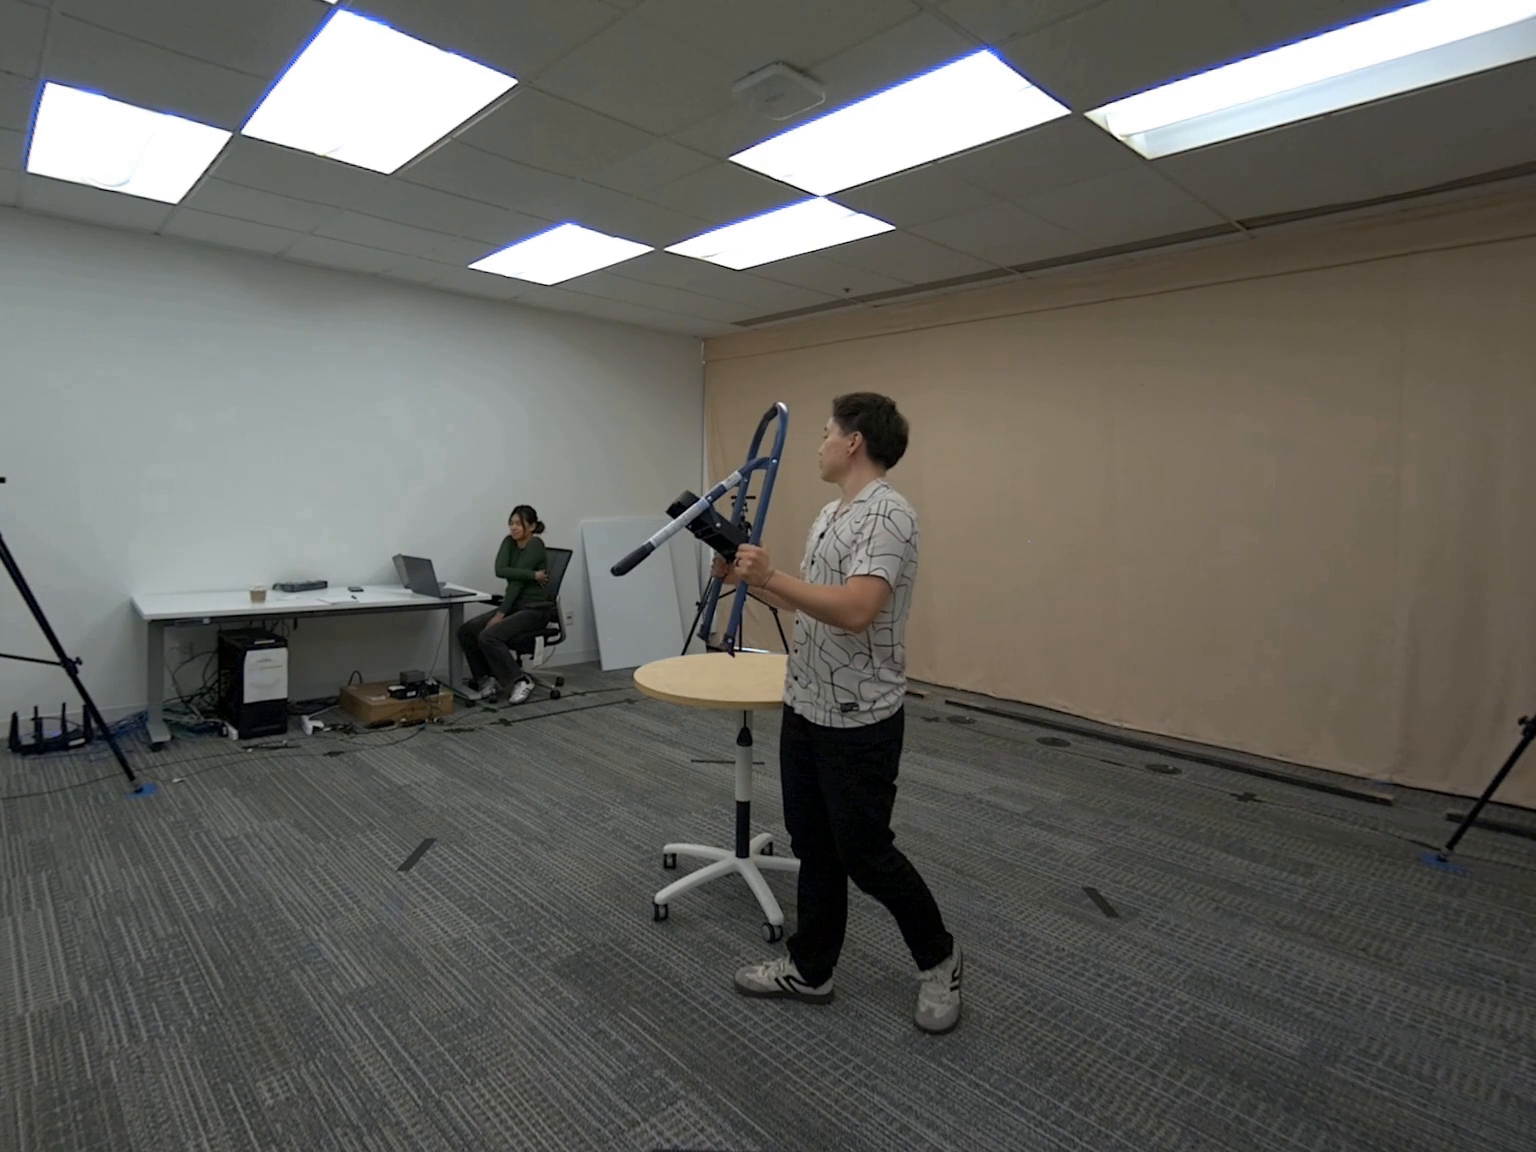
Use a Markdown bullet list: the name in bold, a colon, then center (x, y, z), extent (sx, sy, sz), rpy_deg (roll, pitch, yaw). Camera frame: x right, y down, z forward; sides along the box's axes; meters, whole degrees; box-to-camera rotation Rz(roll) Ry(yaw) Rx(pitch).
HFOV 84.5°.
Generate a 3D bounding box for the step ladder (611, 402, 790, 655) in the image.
- **step ladder**: center (-0.095, -0.152, 2.205), extent (0.346, 0.607, 0.434), rpy_deg (36, -8, -9)
